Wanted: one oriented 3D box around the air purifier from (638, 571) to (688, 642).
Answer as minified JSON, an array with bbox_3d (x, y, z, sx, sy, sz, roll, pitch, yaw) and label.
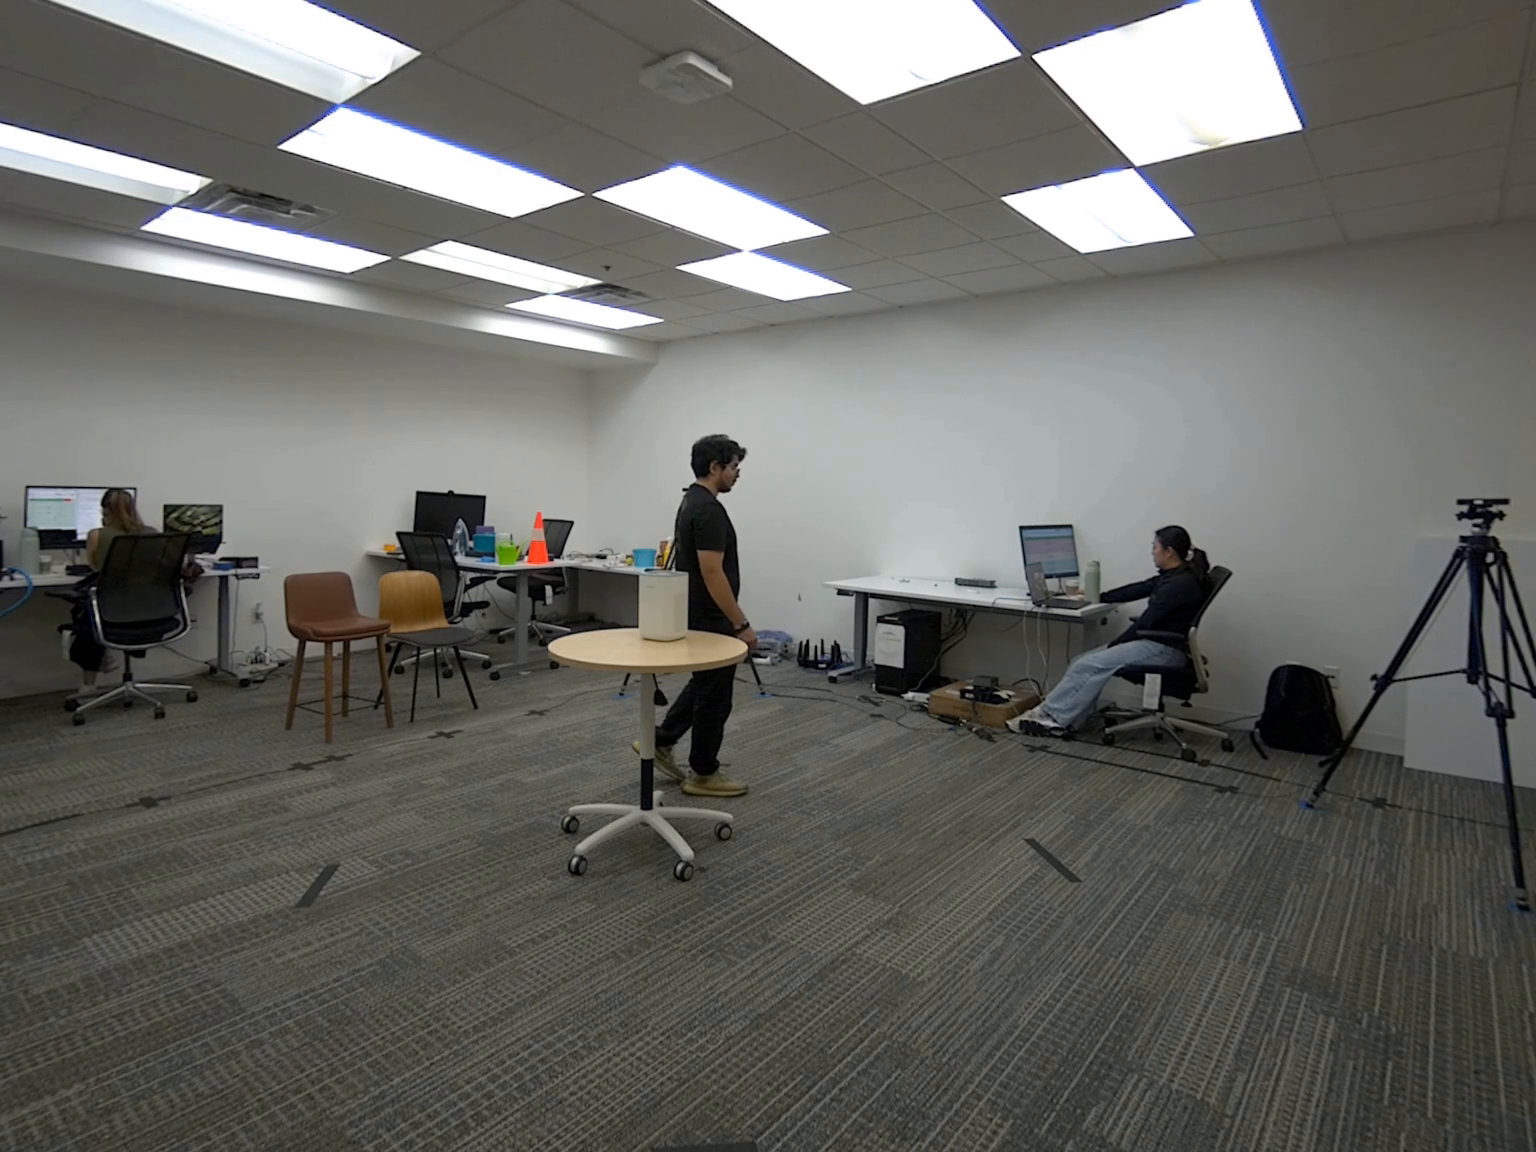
[{"bbox_3d":[-0.438,0.115,3.435,0.176,0.264,0.167,3,4,28],"label":"air purifier"}]
